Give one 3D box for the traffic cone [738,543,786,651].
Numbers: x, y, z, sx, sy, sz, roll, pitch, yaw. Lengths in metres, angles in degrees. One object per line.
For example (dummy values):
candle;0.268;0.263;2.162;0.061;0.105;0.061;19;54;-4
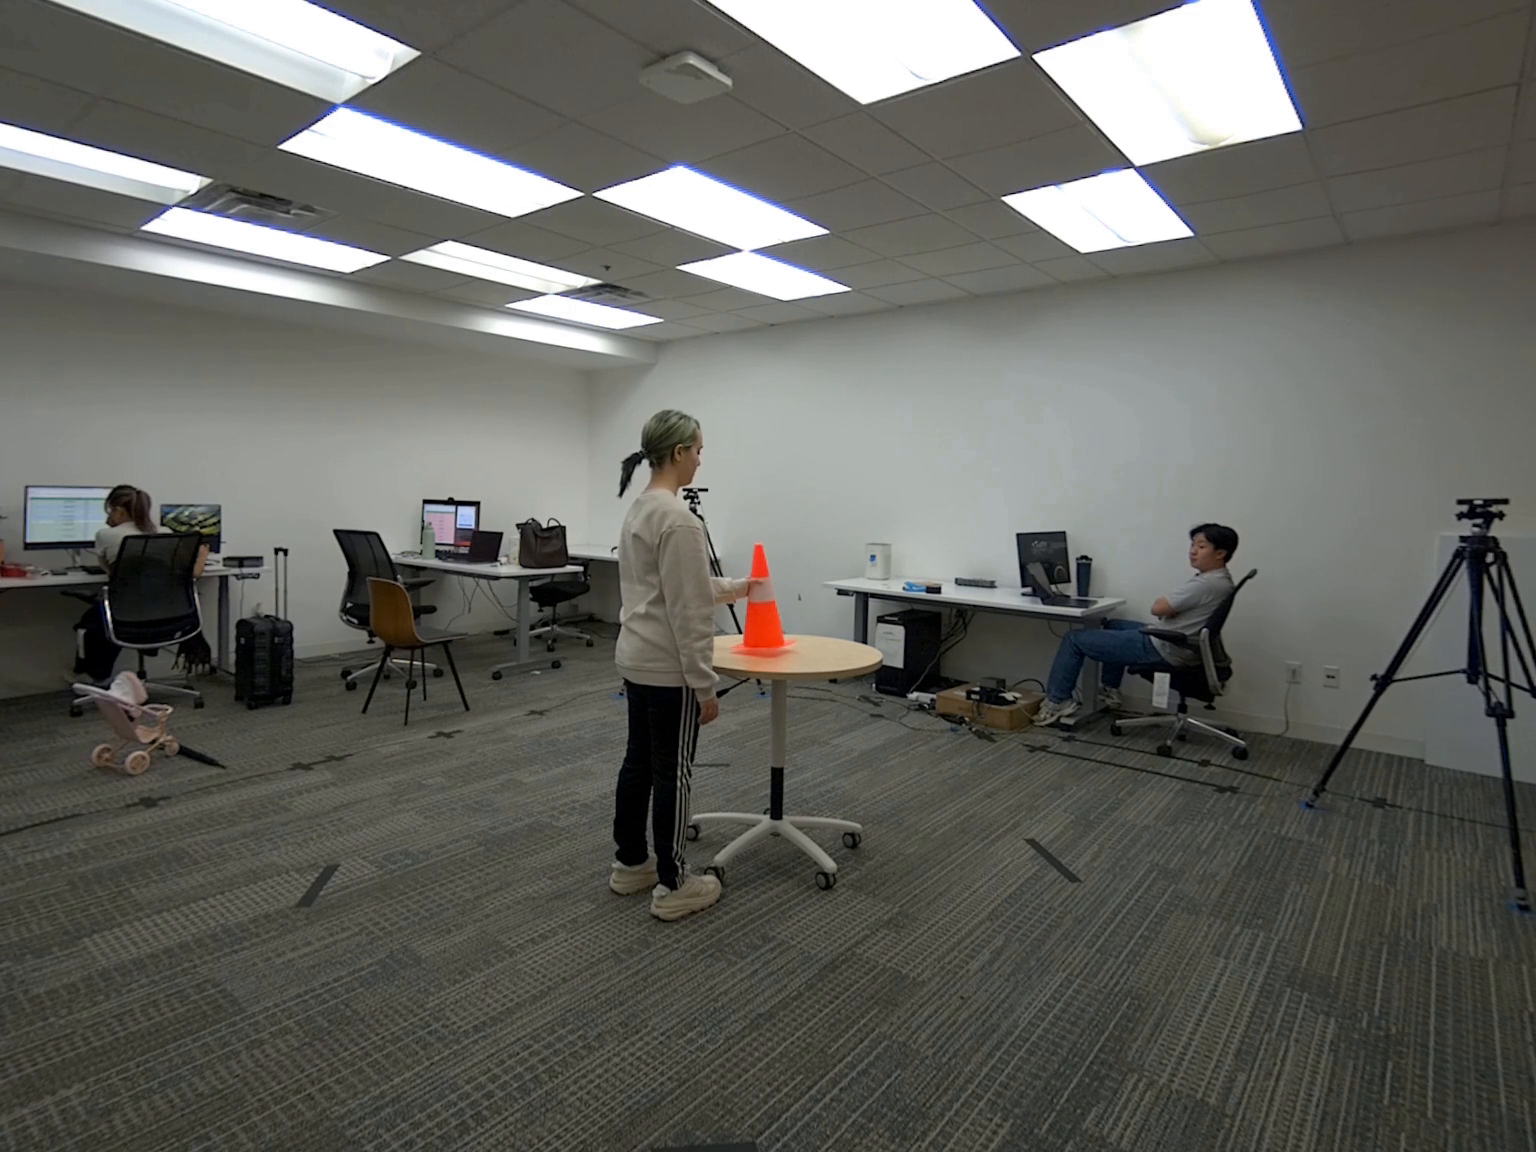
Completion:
traffic cone;-0.042;0.065;3.182;0.210;0.382;0.199;-1;5;24
